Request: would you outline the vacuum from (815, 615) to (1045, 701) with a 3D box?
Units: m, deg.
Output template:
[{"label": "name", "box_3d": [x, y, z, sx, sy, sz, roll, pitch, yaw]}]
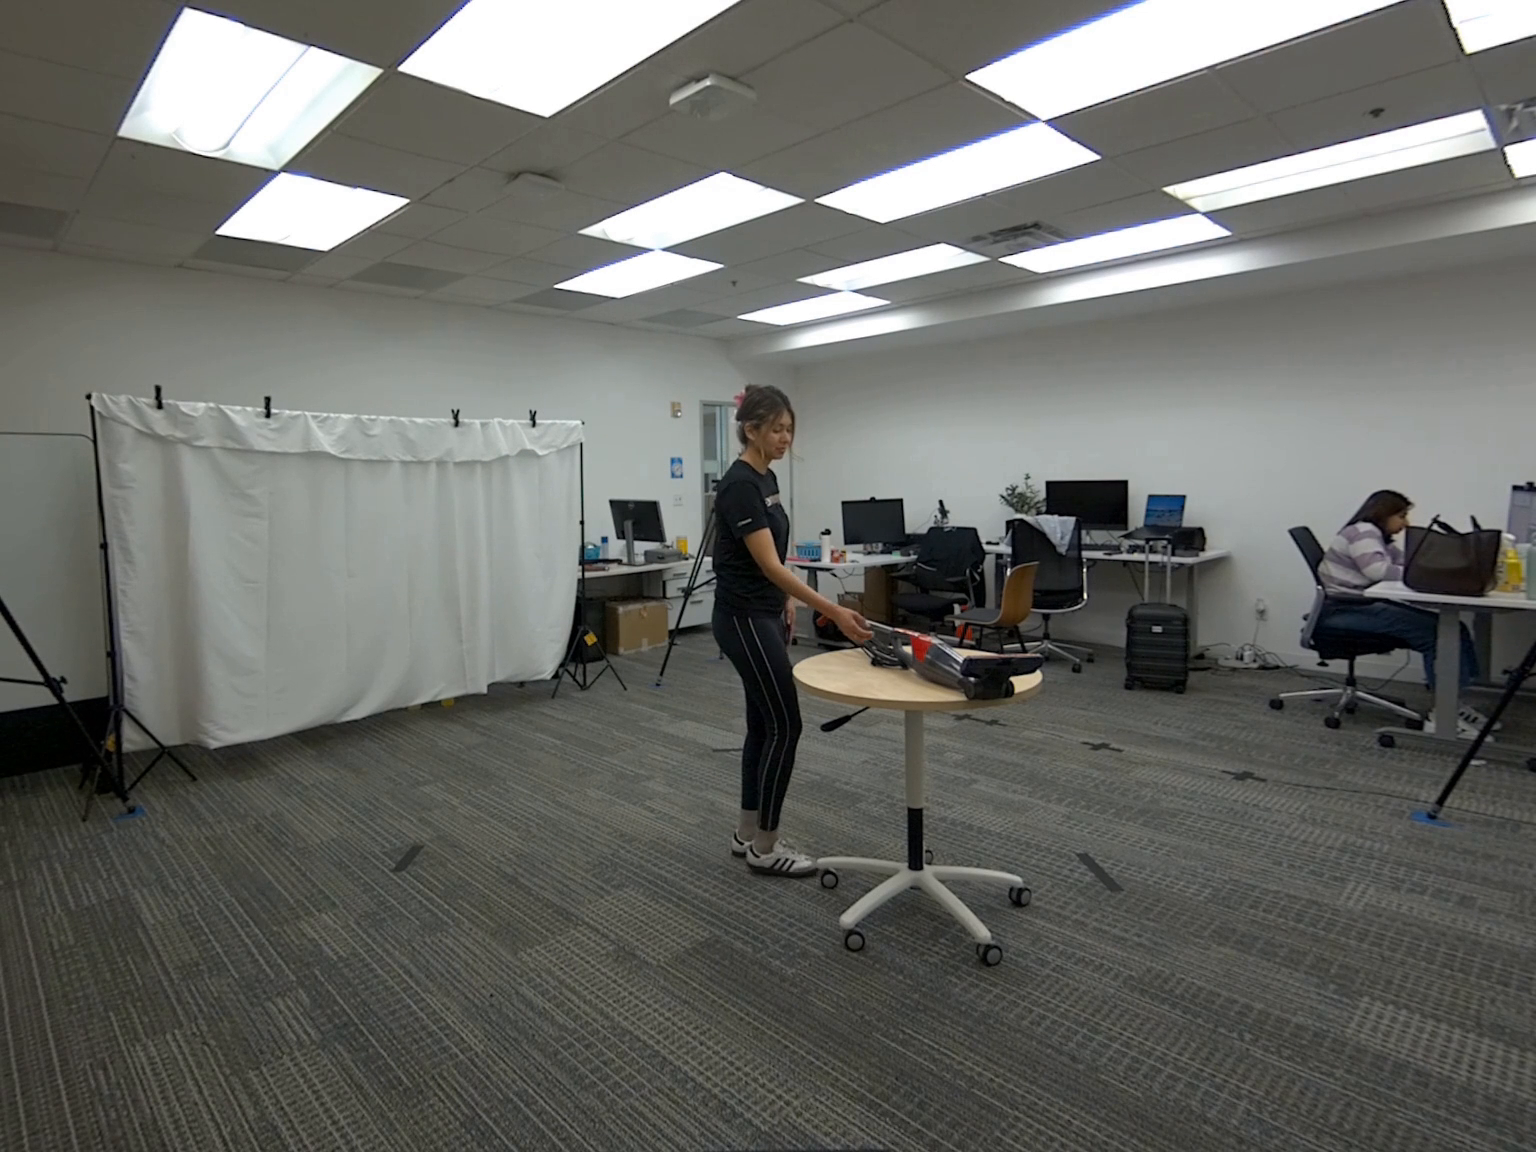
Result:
[{"label": "vacuum", "box_3d": [0.427, 0.243, 2.778, 0.247, 0.144, 1.072, 1, 4, -22]}]
